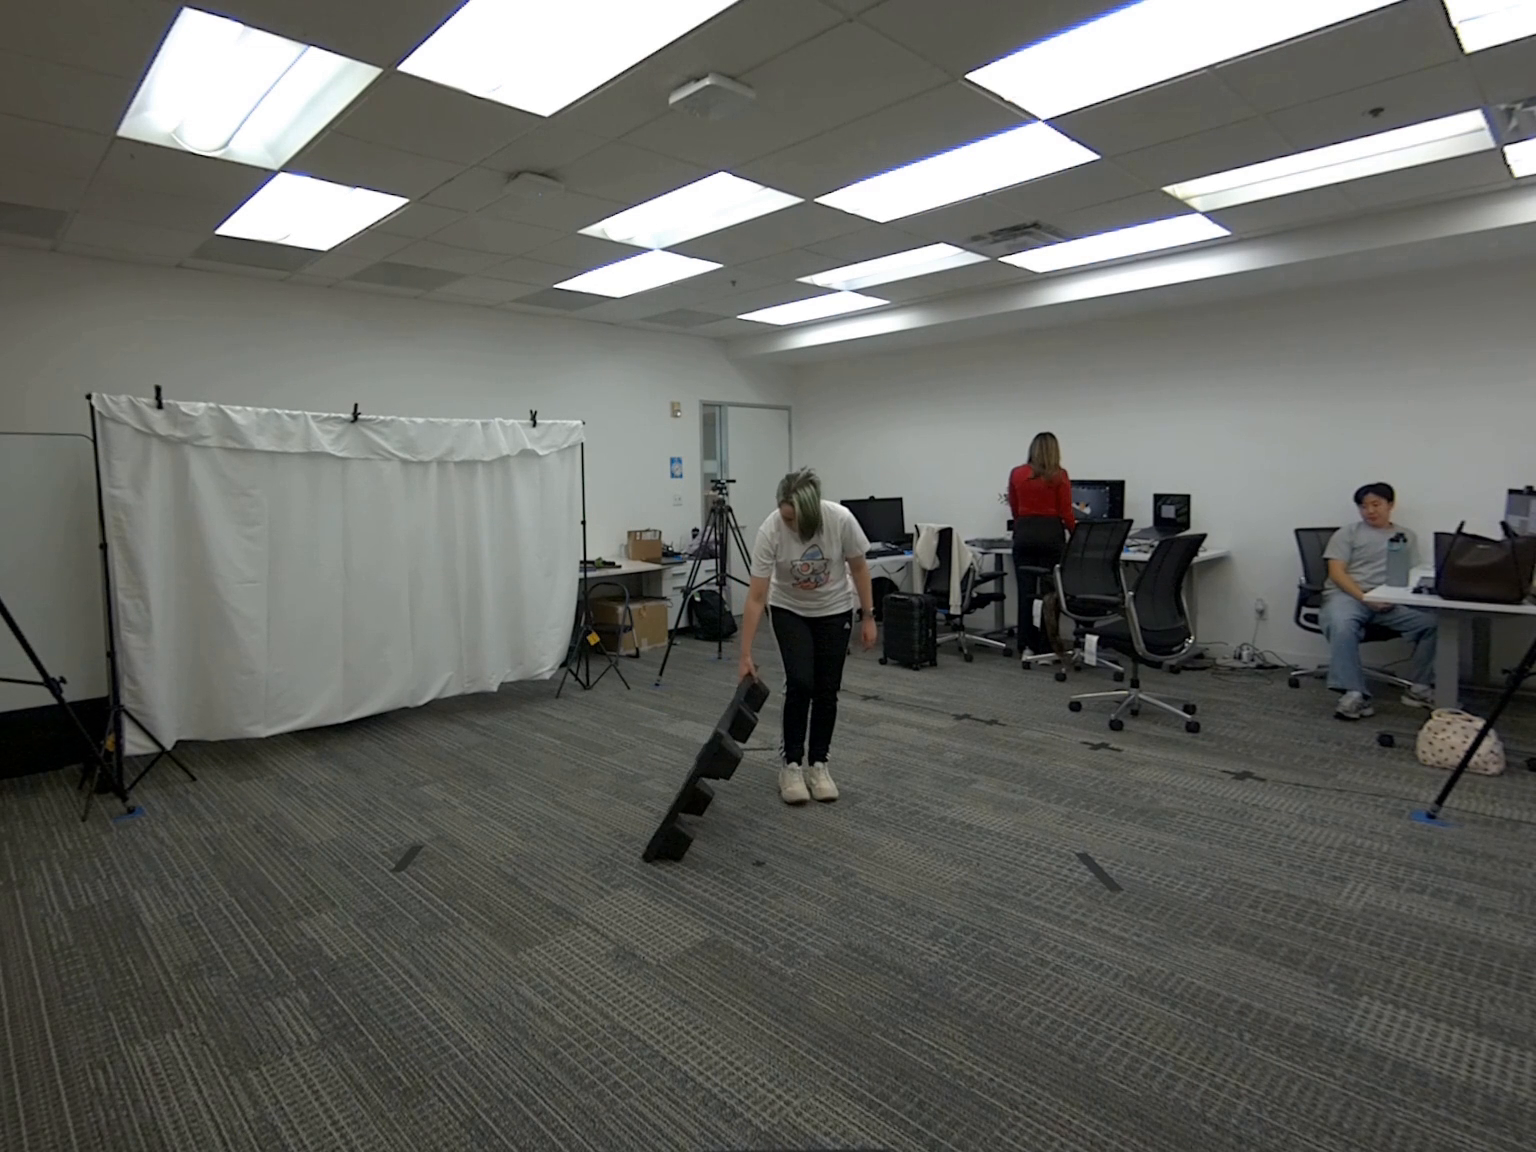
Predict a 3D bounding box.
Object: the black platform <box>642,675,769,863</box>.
[{"bbox_3d":[-0.219,0.741,3.440,0.144,0.602,0.805,29,13,2],"label":"black platform"}]
